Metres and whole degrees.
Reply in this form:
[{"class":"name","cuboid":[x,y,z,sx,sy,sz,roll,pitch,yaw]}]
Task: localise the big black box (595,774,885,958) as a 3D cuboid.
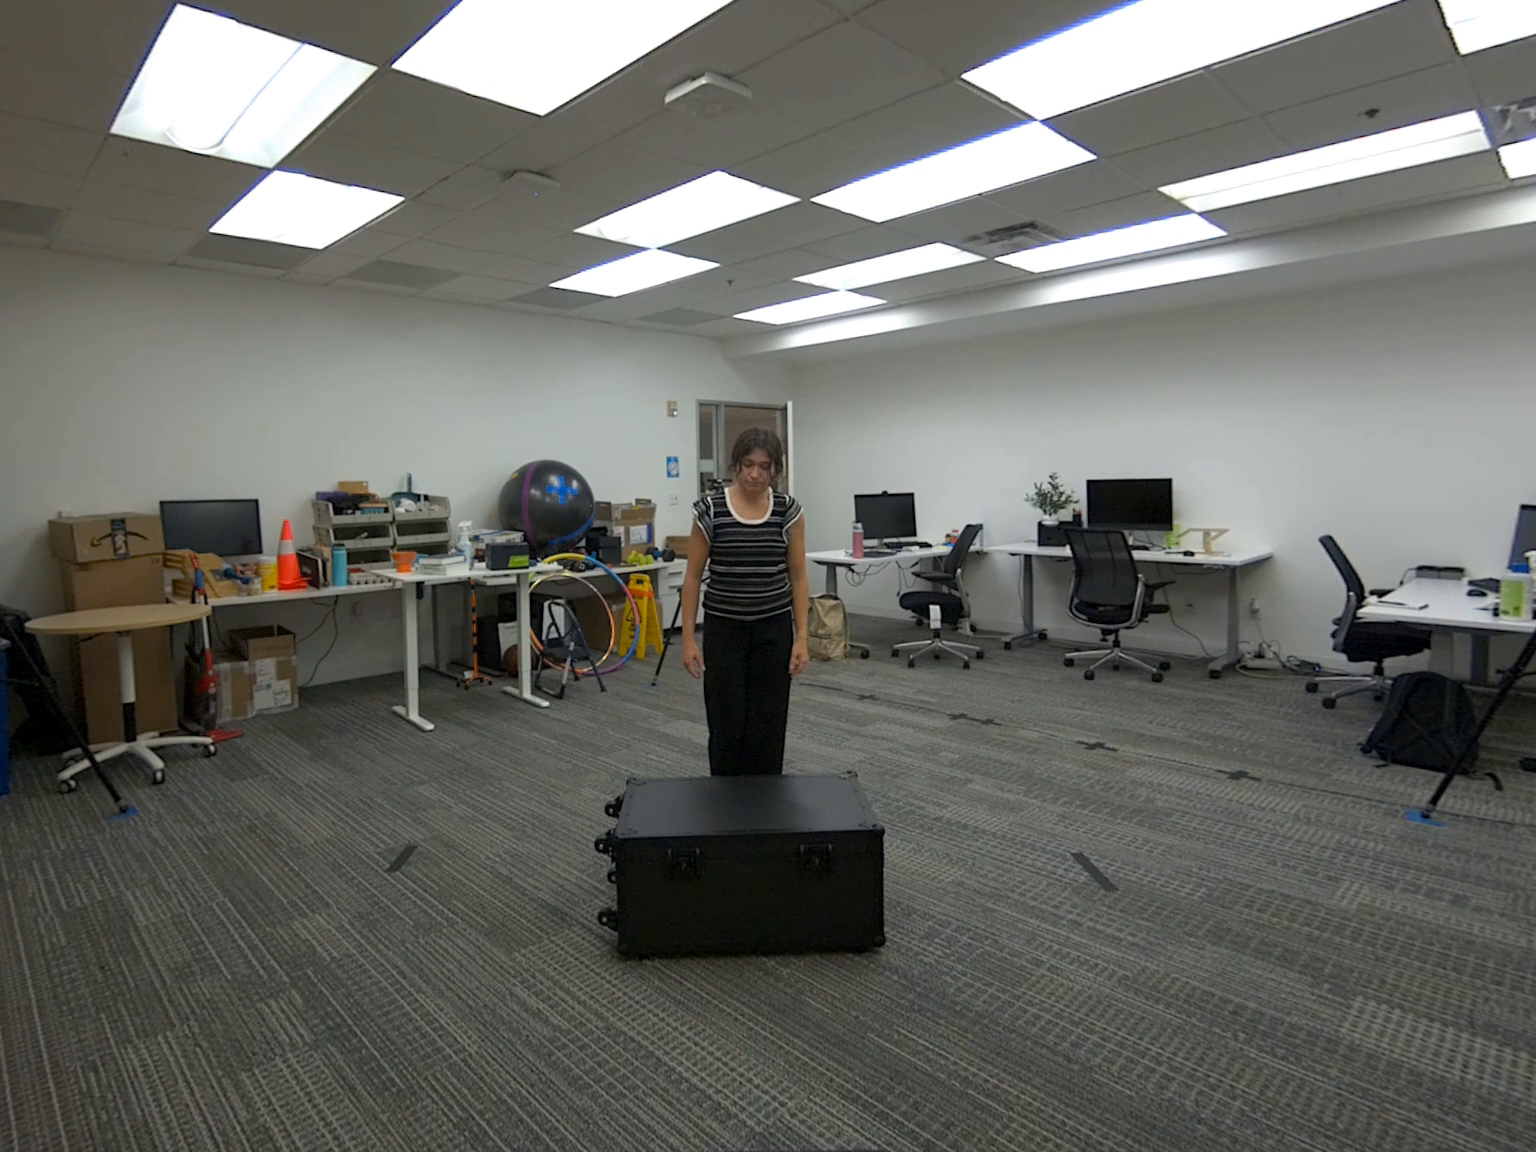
[{"class":"big black box","cuboid":[-0.099,0.899,2.717,0.860,0.395,0.524,-1,5,-2]}]
